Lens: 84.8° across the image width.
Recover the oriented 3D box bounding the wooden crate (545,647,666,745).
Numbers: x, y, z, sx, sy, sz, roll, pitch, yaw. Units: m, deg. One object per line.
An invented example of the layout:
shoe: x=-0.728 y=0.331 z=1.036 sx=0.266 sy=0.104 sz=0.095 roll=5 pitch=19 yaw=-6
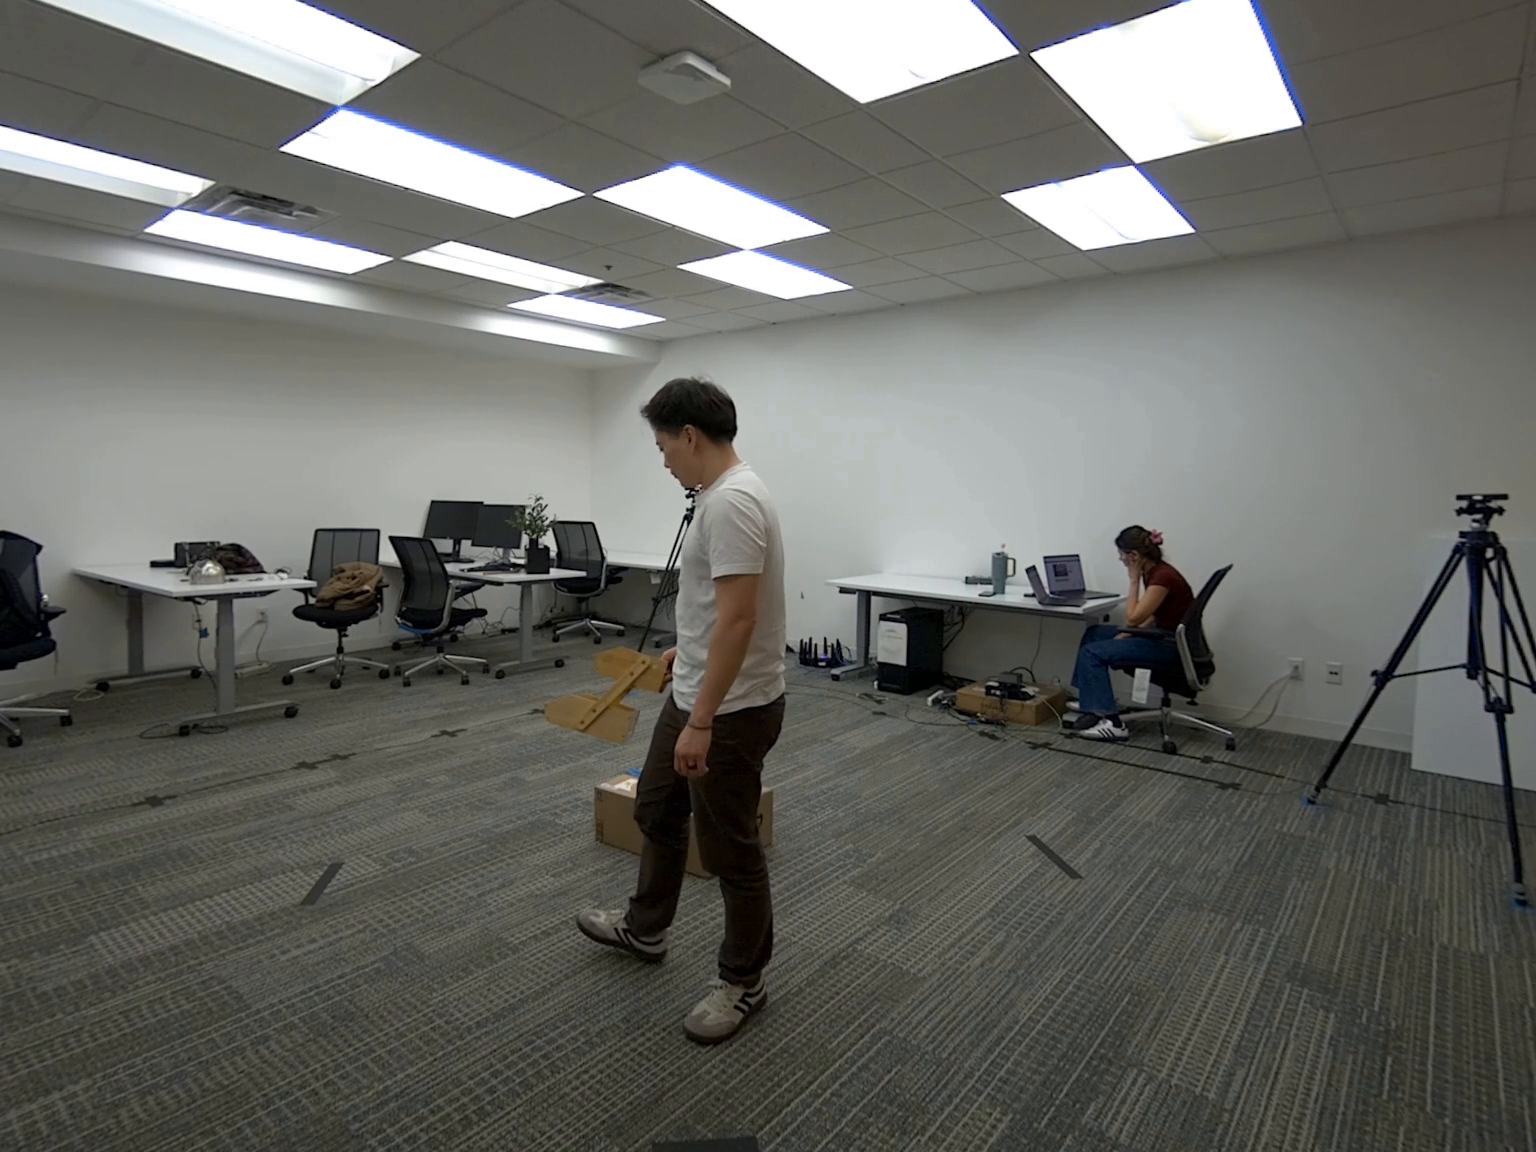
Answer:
wooden crate: x=-0.500 y=0.340 z=2.569 sx=0.302 sy=0.275 sz=0.323 roll=17 pitch=-8 yaw=-1
